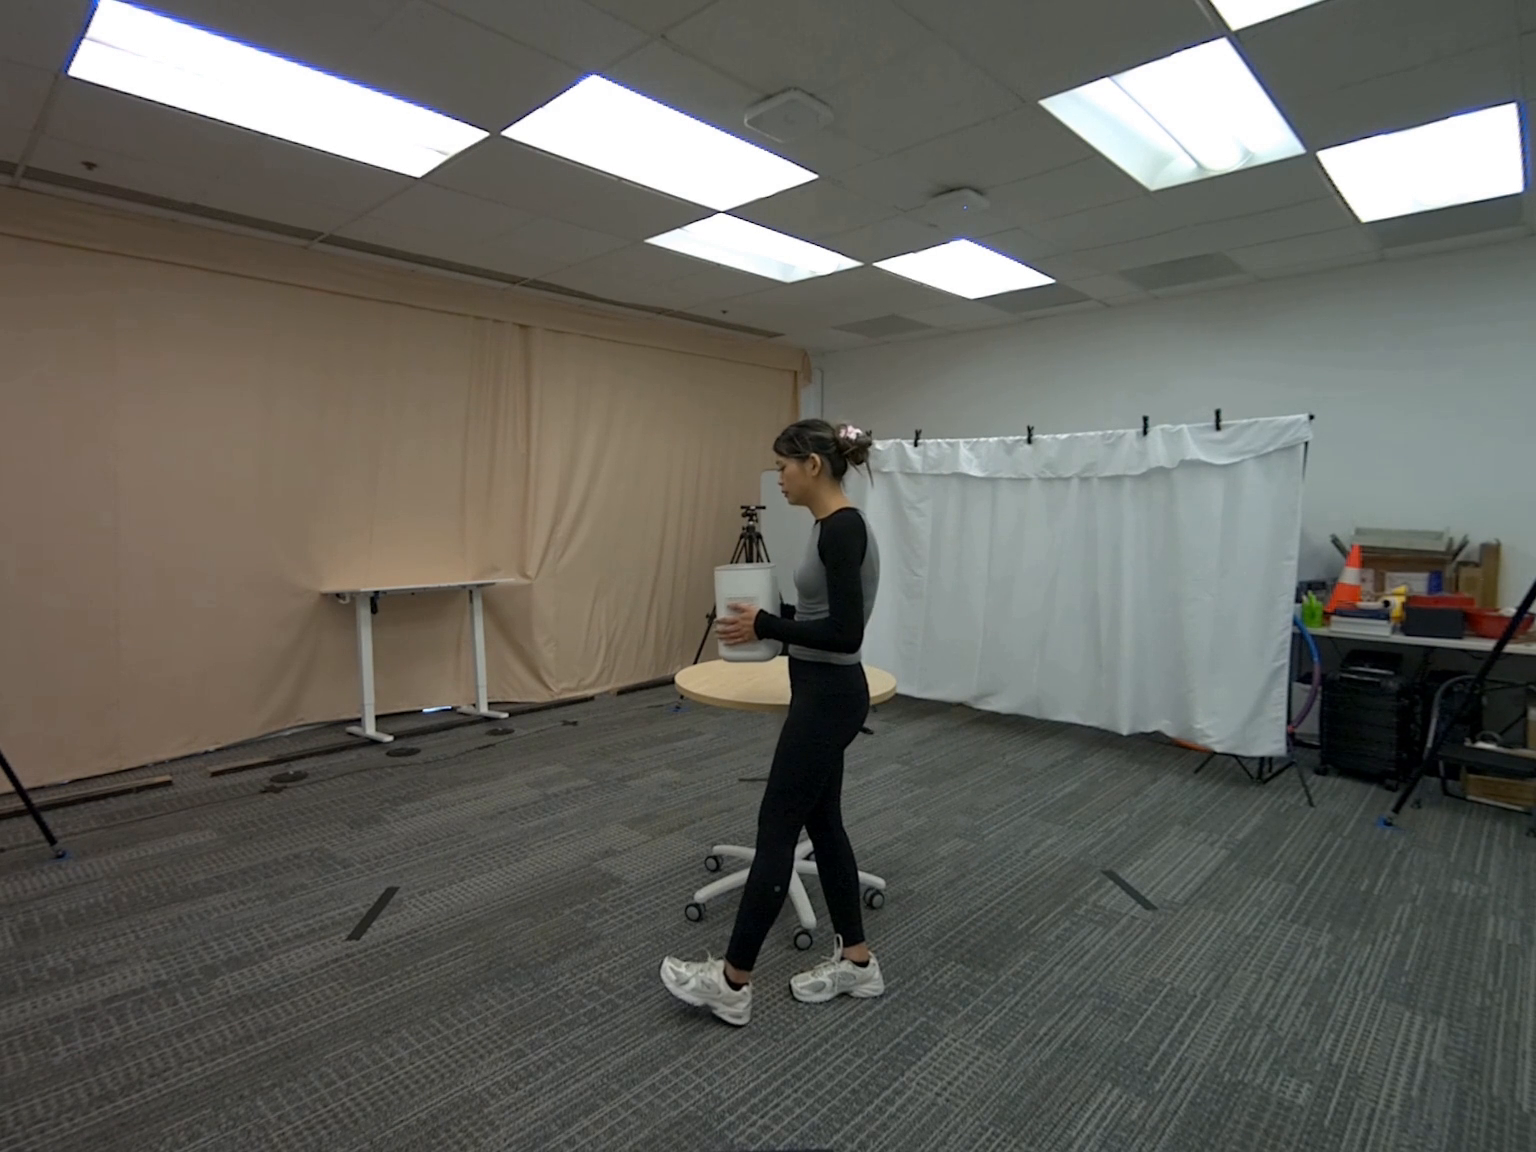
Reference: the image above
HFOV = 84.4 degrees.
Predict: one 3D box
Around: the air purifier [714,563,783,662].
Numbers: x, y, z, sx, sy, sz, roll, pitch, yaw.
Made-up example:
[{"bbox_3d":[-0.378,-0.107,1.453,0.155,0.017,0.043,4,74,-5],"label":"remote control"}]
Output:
[{"bbox_3d":[-0.051,0.103,2.399,0.174,0.265,0.169,-3,3,12],"label":"air purifier"}]
